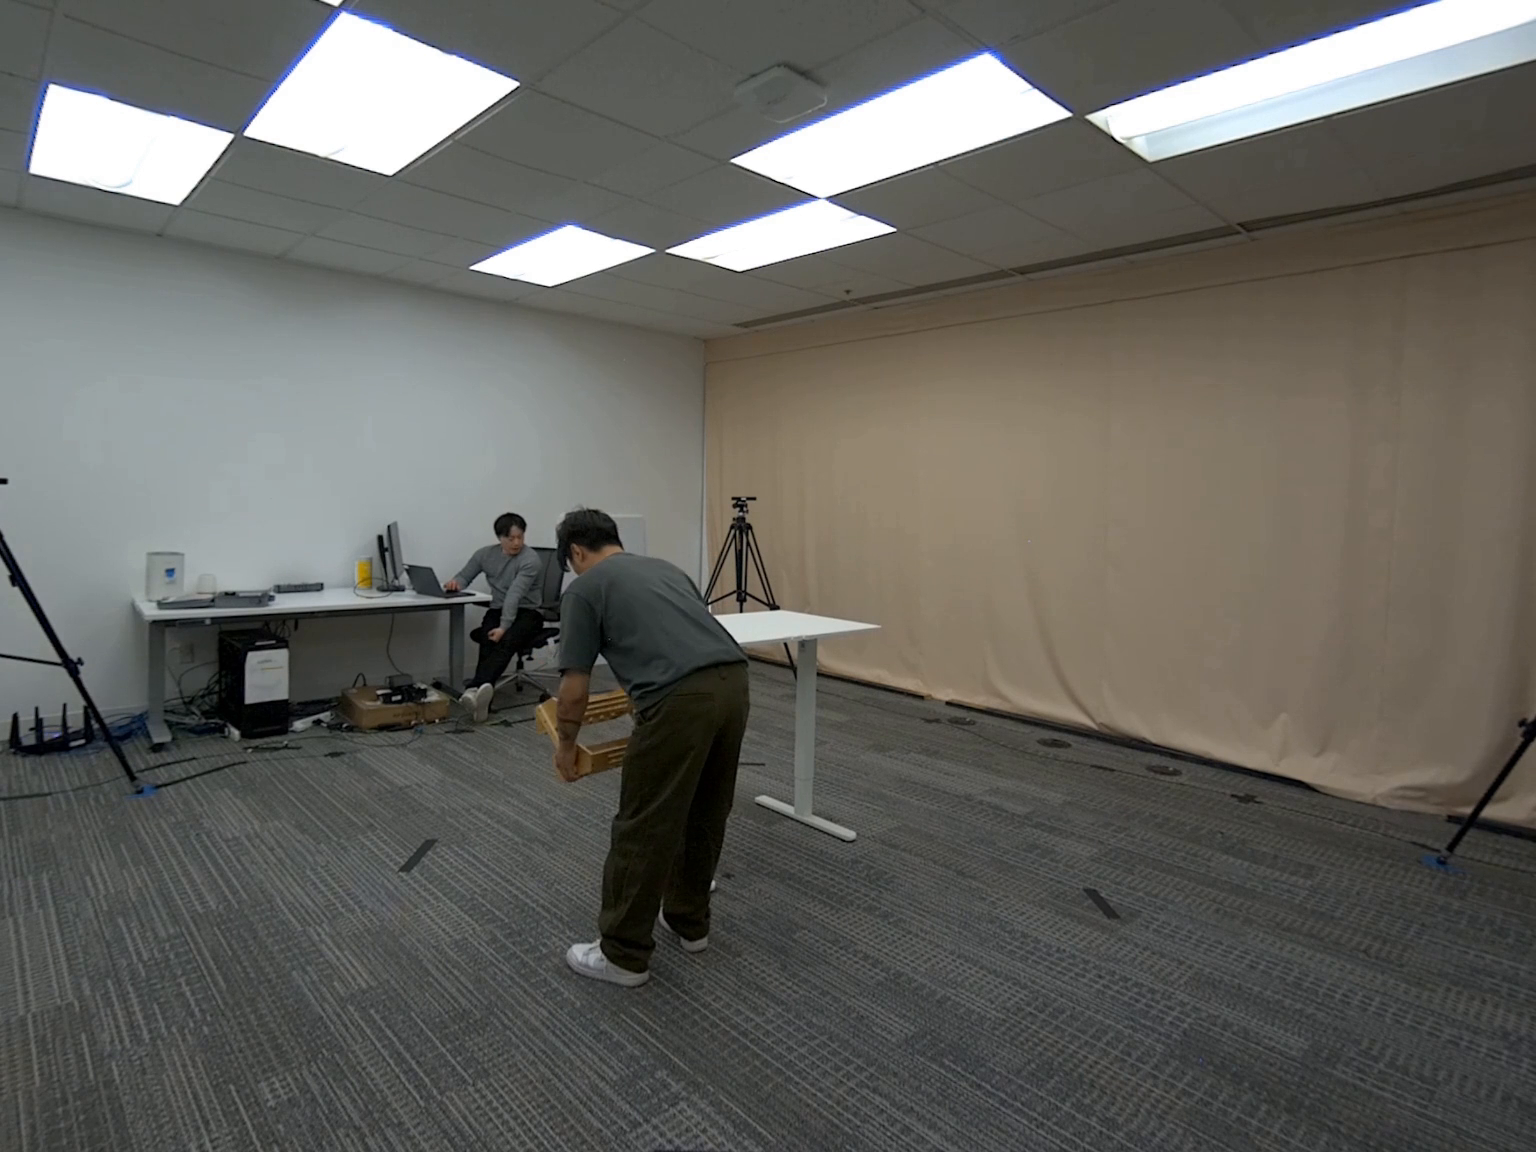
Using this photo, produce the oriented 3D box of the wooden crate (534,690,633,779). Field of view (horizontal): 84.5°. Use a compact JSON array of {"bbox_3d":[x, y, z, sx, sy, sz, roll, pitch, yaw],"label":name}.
[{"bbox_3d":[-0.547,0.493,2.751,0.317,0.277,0.304,-5,-18,-42],"label":"wooden crate"}]
